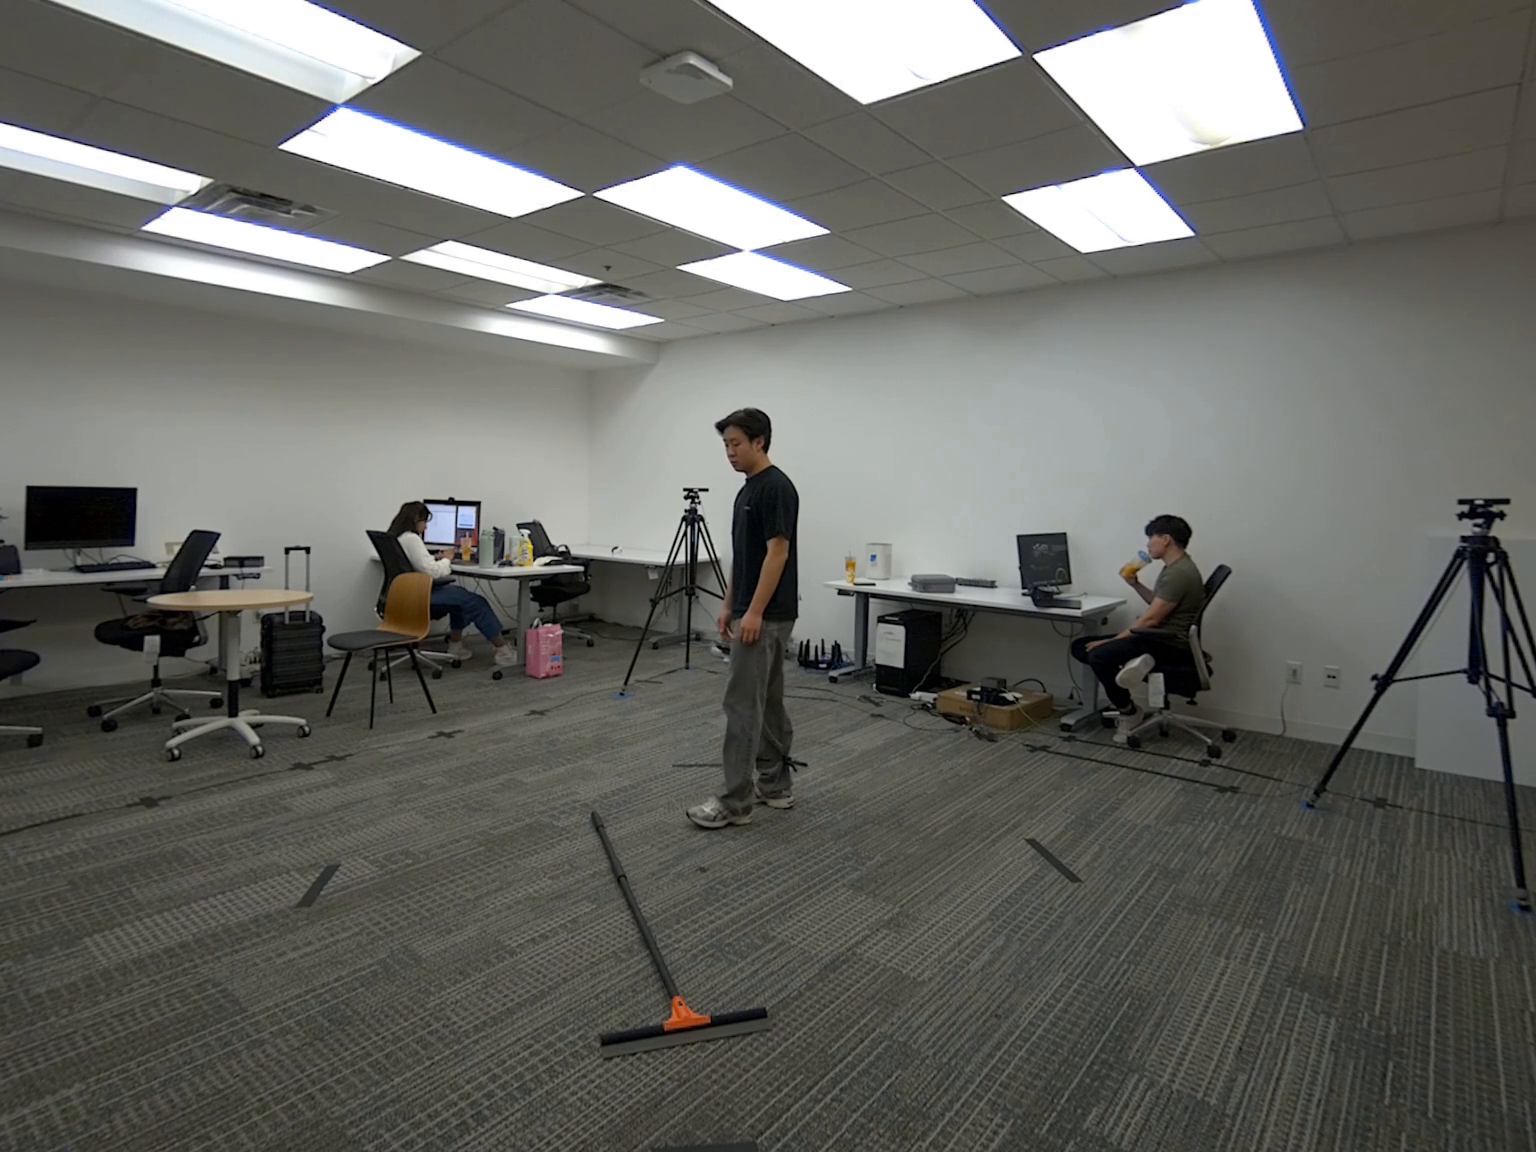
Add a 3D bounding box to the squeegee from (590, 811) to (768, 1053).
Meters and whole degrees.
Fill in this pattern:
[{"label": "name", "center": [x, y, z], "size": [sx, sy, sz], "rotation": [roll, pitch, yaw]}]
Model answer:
[{"label": "squeegee", "center": [-0.475, 1.046, 2.865], "size": [0.429, 0.053, 1.575], "rotation": [-1, 6, -21]}]
